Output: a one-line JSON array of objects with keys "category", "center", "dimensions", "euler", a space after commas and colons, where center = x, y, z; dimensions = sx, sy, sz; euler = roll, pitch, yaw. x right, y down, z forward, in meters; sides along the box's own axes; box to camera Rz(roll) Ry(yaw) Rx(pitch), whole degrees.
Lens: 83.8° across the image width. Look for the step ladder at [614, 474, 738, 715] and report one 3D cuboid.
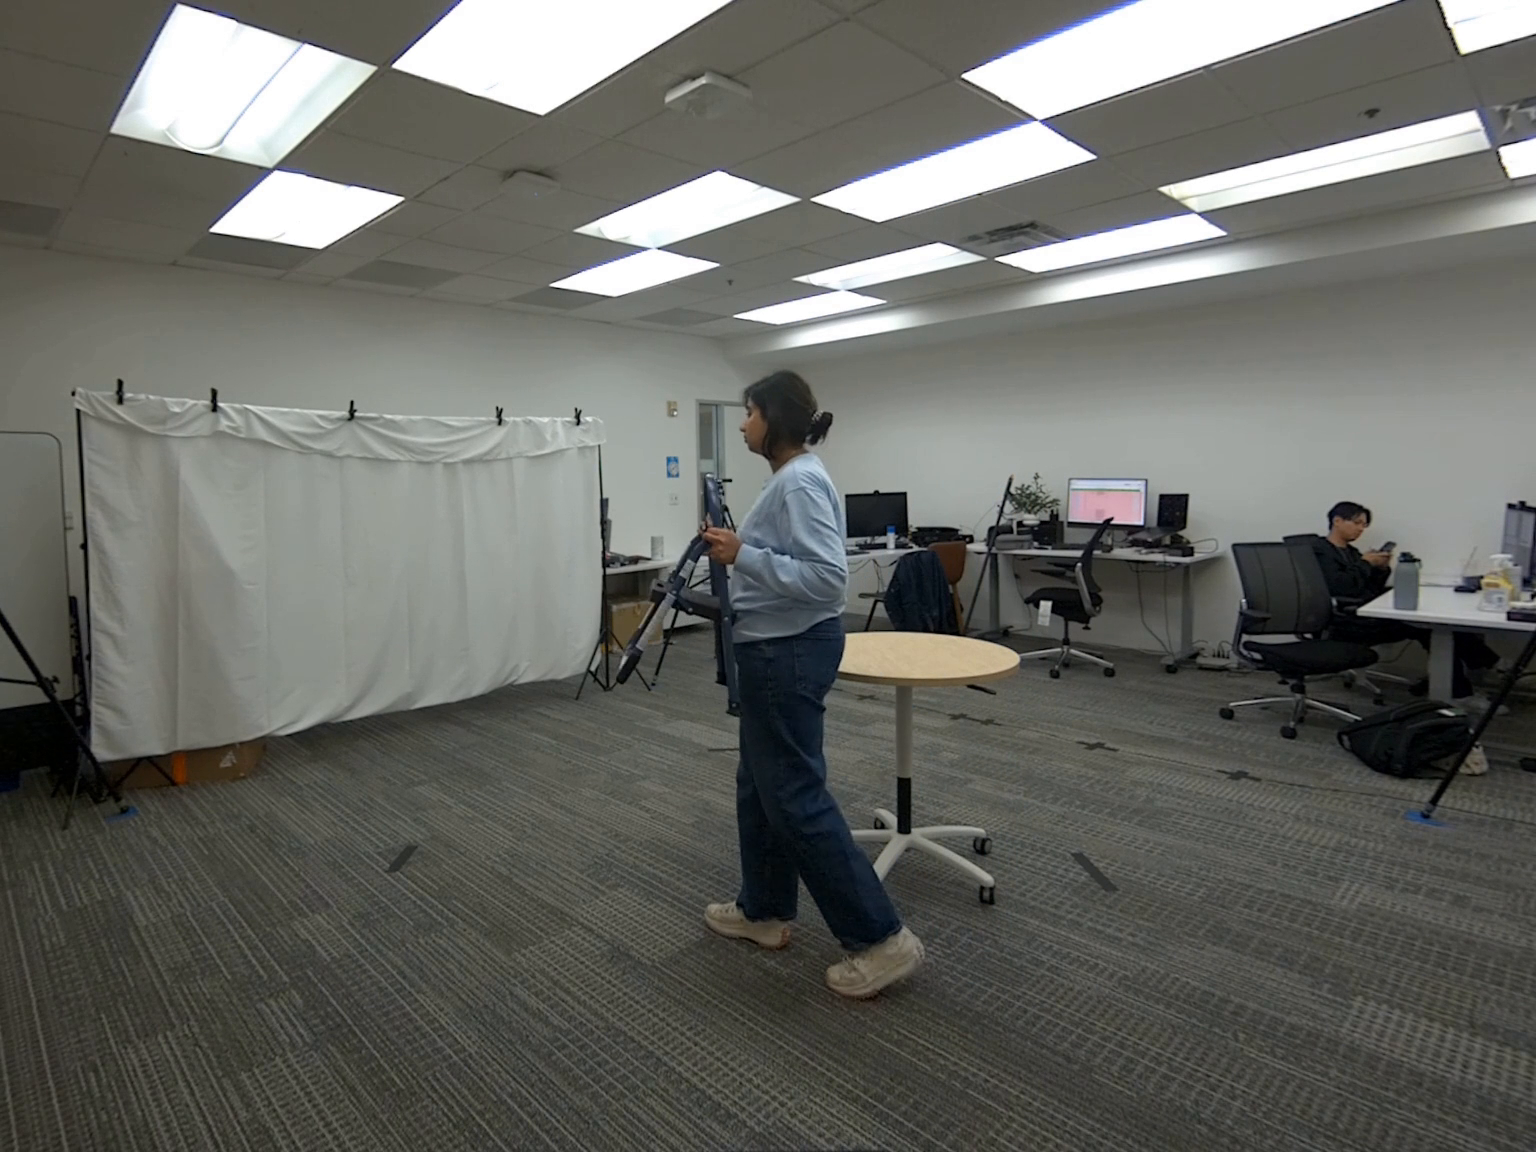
[{"category": "step ladder", "center": [-0.174, 0.024, 2.441], "dimensions": [0.347, 0.606, 0.434], "euler": [15, 1, -8]}]
